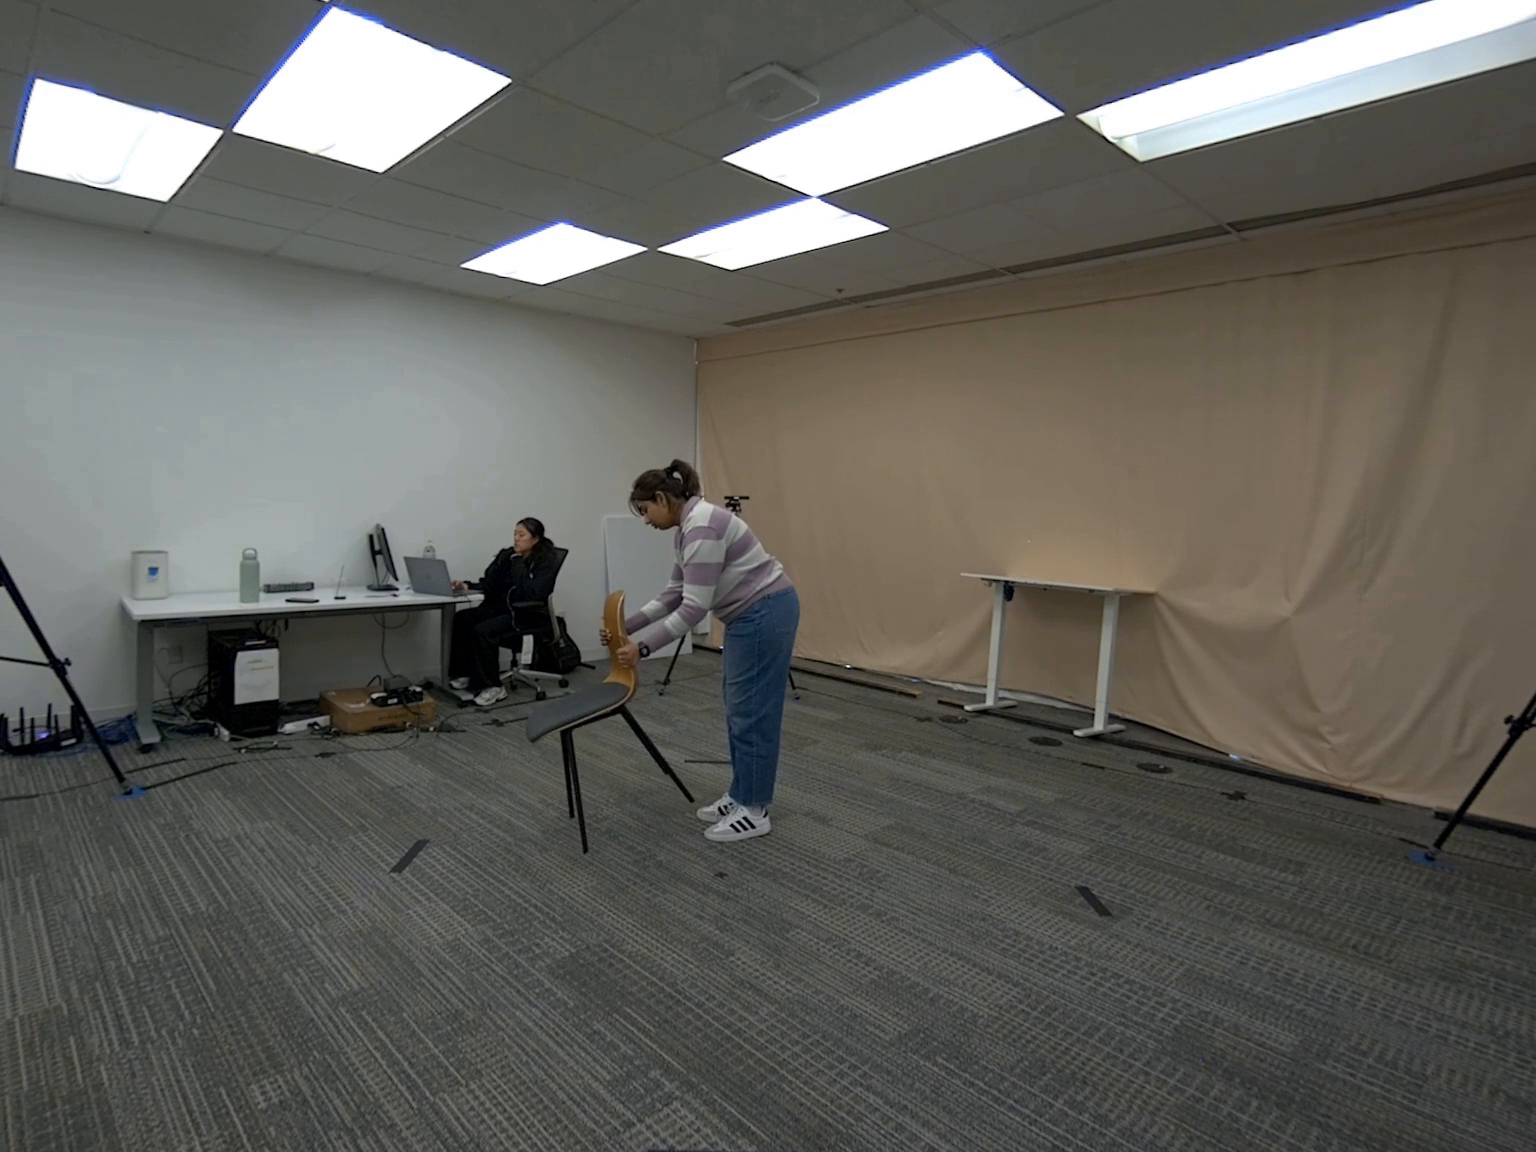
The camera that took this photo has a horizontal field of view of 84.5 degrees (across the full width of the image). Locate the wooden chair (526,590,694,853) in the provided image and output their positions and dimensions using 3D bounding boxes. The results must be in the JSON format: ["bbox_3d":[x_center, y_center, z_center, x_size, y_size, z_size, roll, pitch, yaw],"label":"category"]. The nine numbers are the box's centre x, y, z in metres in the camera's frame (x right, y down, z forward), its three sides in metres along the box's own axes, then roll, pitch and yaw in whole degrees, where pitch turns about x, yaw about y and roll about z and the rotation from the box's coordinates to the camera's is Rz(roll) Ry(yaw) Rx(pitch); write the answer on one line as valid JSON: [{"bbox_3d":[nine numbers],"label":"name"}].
[{"bbox_3d":[-0.704,0.552,3.343,0.518,0.874,0.484,-17,4,-18],"label":"wooden chair"}]
